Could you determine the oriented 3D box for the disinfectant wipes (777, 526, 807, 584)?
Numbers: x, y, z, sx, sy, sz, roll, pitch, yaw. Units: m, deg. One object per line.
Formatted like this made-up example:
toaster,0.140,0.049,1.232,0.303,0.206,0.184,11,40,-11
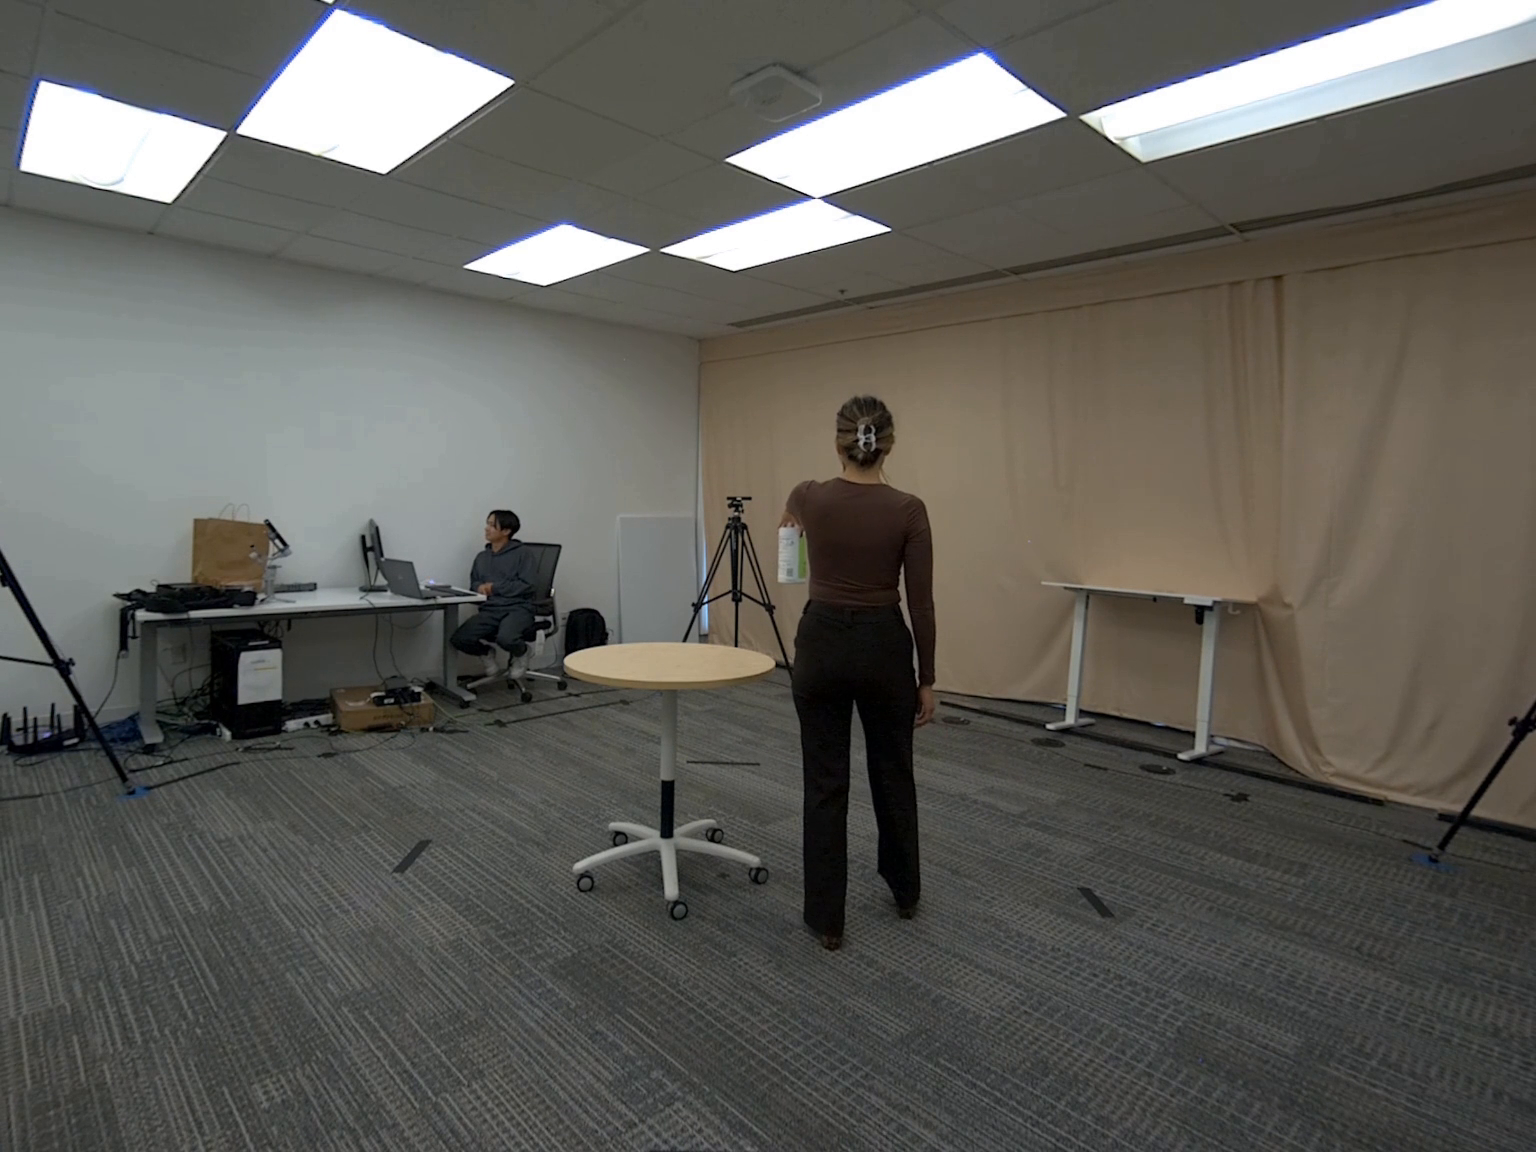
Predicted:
disinfectant wipes,0.094,-0.081,3.252,0.118,0.217,0.118,-1,1,-1
